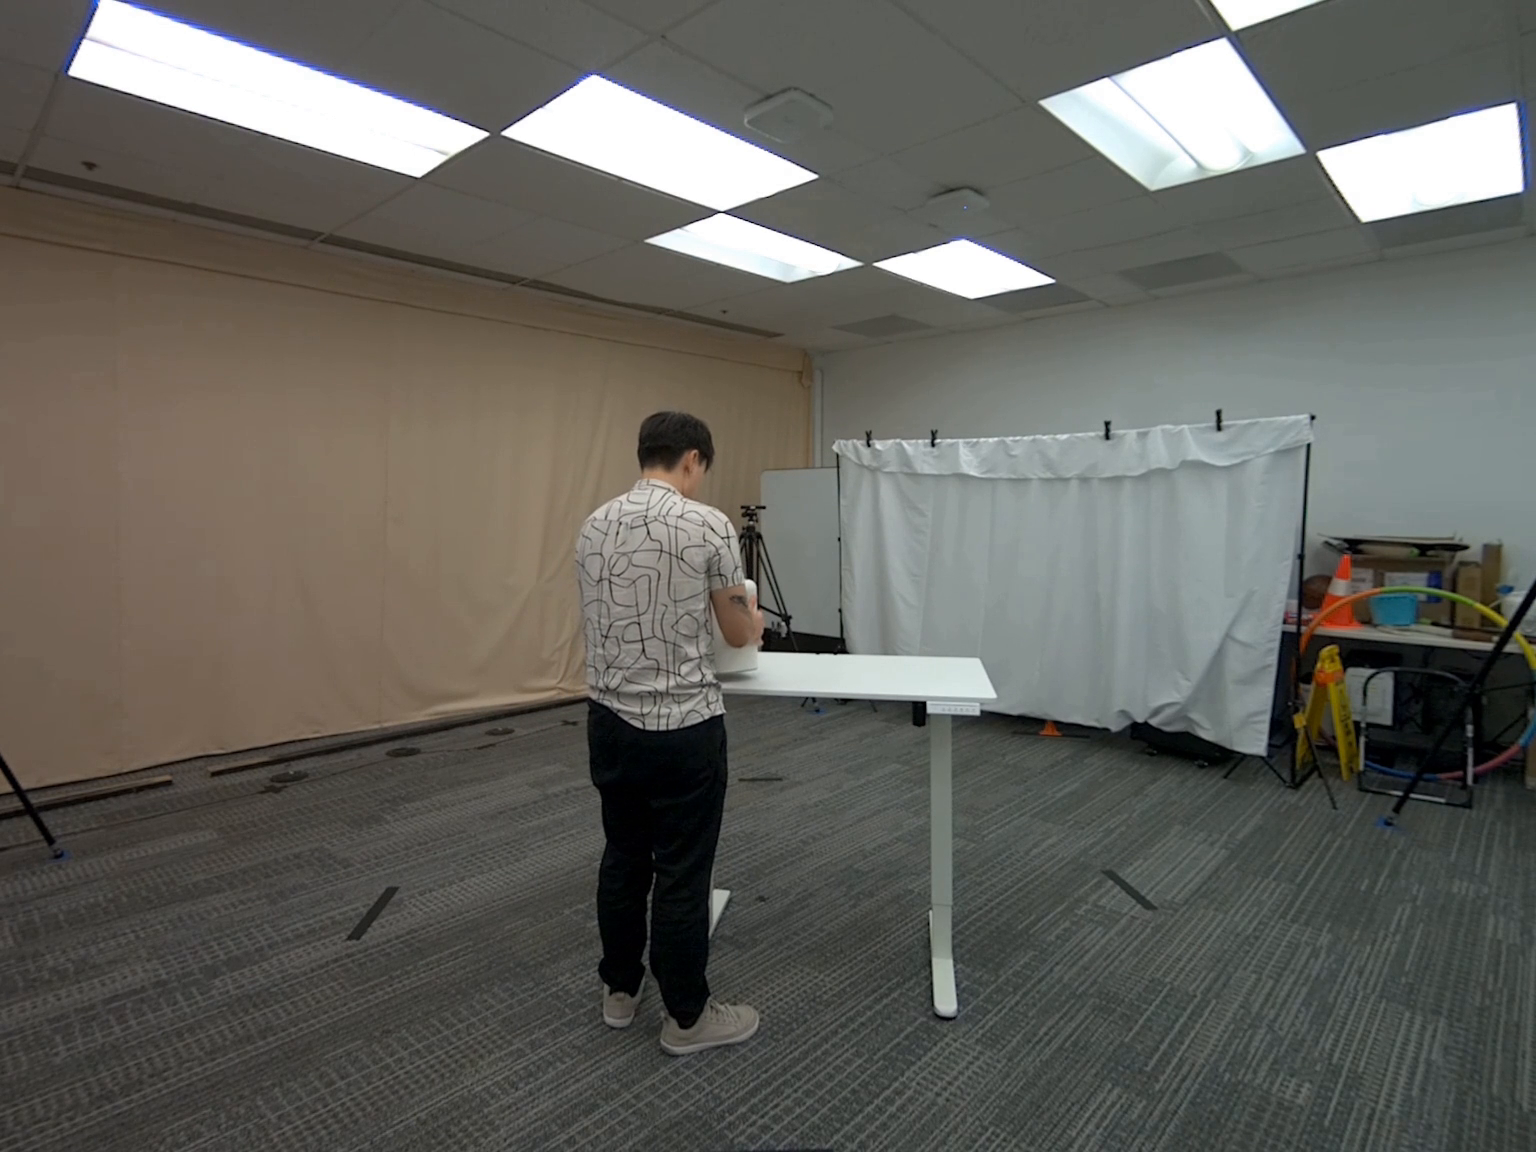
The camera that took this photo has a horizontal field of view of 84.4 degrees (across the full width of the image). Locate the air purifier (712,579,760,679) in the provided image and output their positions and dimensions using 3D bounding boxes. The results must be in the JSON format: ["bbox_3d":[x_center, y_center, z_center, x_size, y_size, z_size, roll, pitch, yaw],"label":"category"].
[{"bbox_3d":[-0.125,0.142,2.488,0.168,0.265,0.175,-2,4,-22],"label":"air purifier"}]
